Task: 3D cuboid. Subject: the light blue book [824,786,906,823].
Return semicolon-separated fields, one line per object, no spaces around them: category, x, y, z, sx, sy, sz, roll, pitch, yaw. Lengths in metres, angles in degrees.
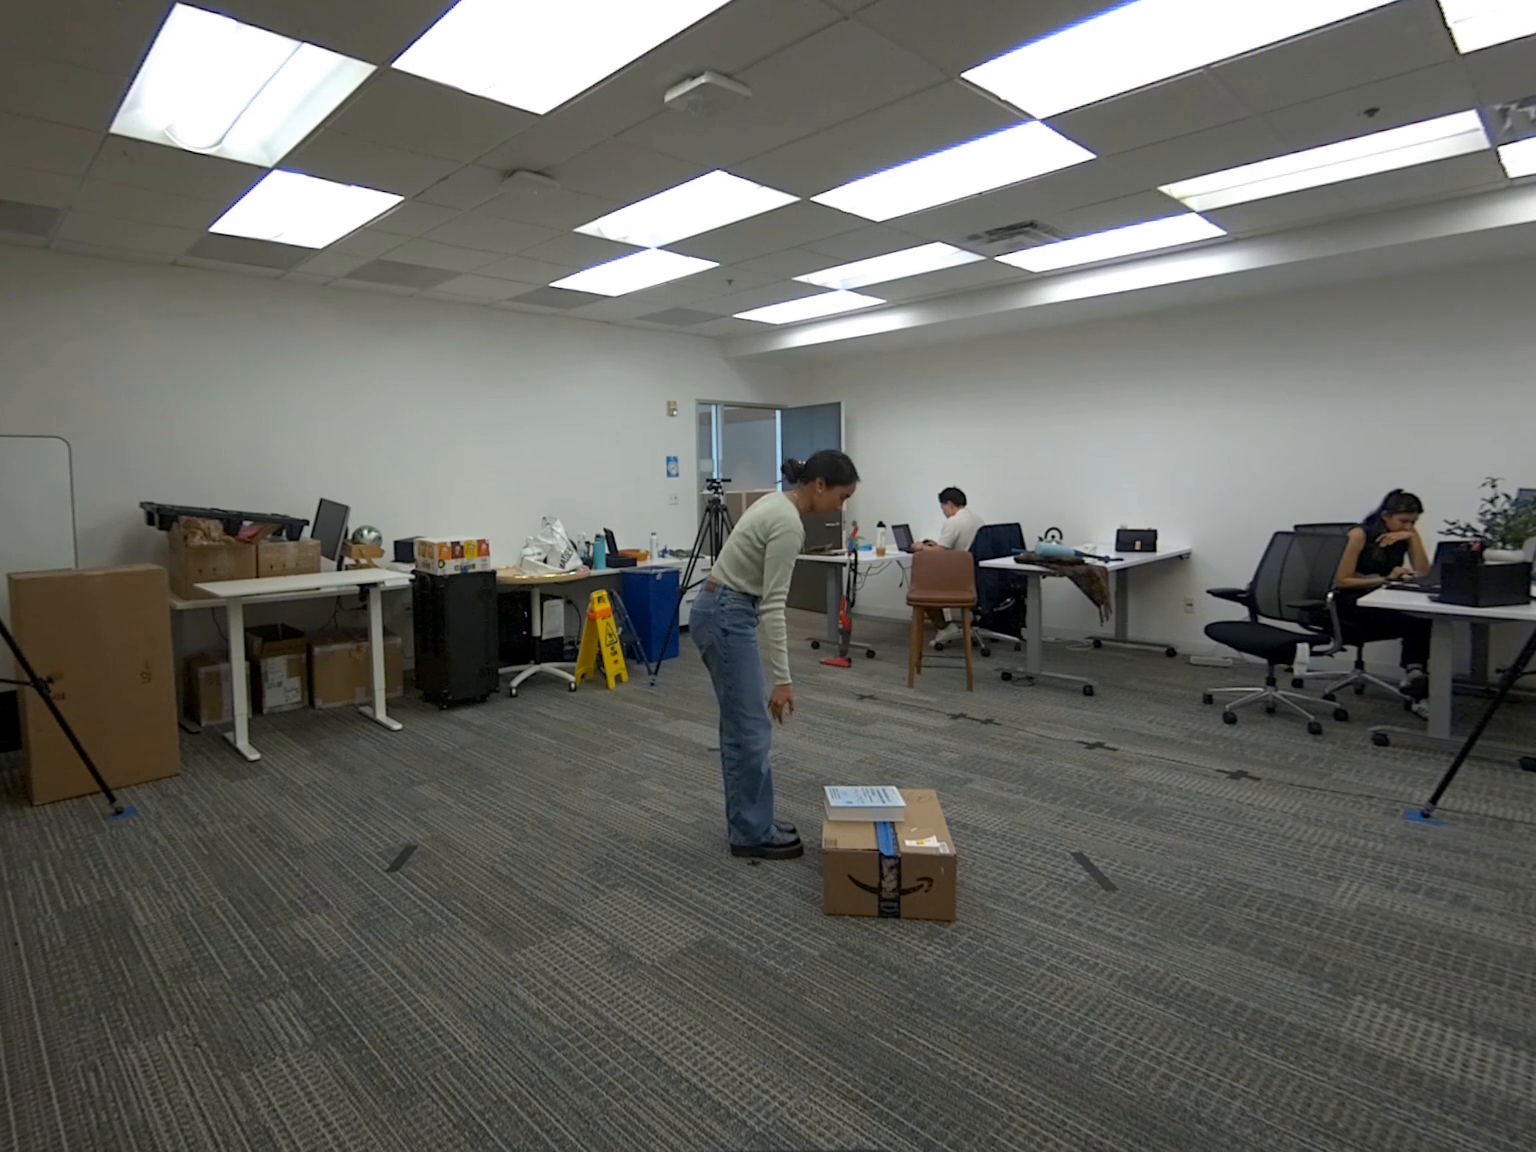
light blue book;0.346;0.805;3.030;0.261;0.059;0.192;0;7;-1
